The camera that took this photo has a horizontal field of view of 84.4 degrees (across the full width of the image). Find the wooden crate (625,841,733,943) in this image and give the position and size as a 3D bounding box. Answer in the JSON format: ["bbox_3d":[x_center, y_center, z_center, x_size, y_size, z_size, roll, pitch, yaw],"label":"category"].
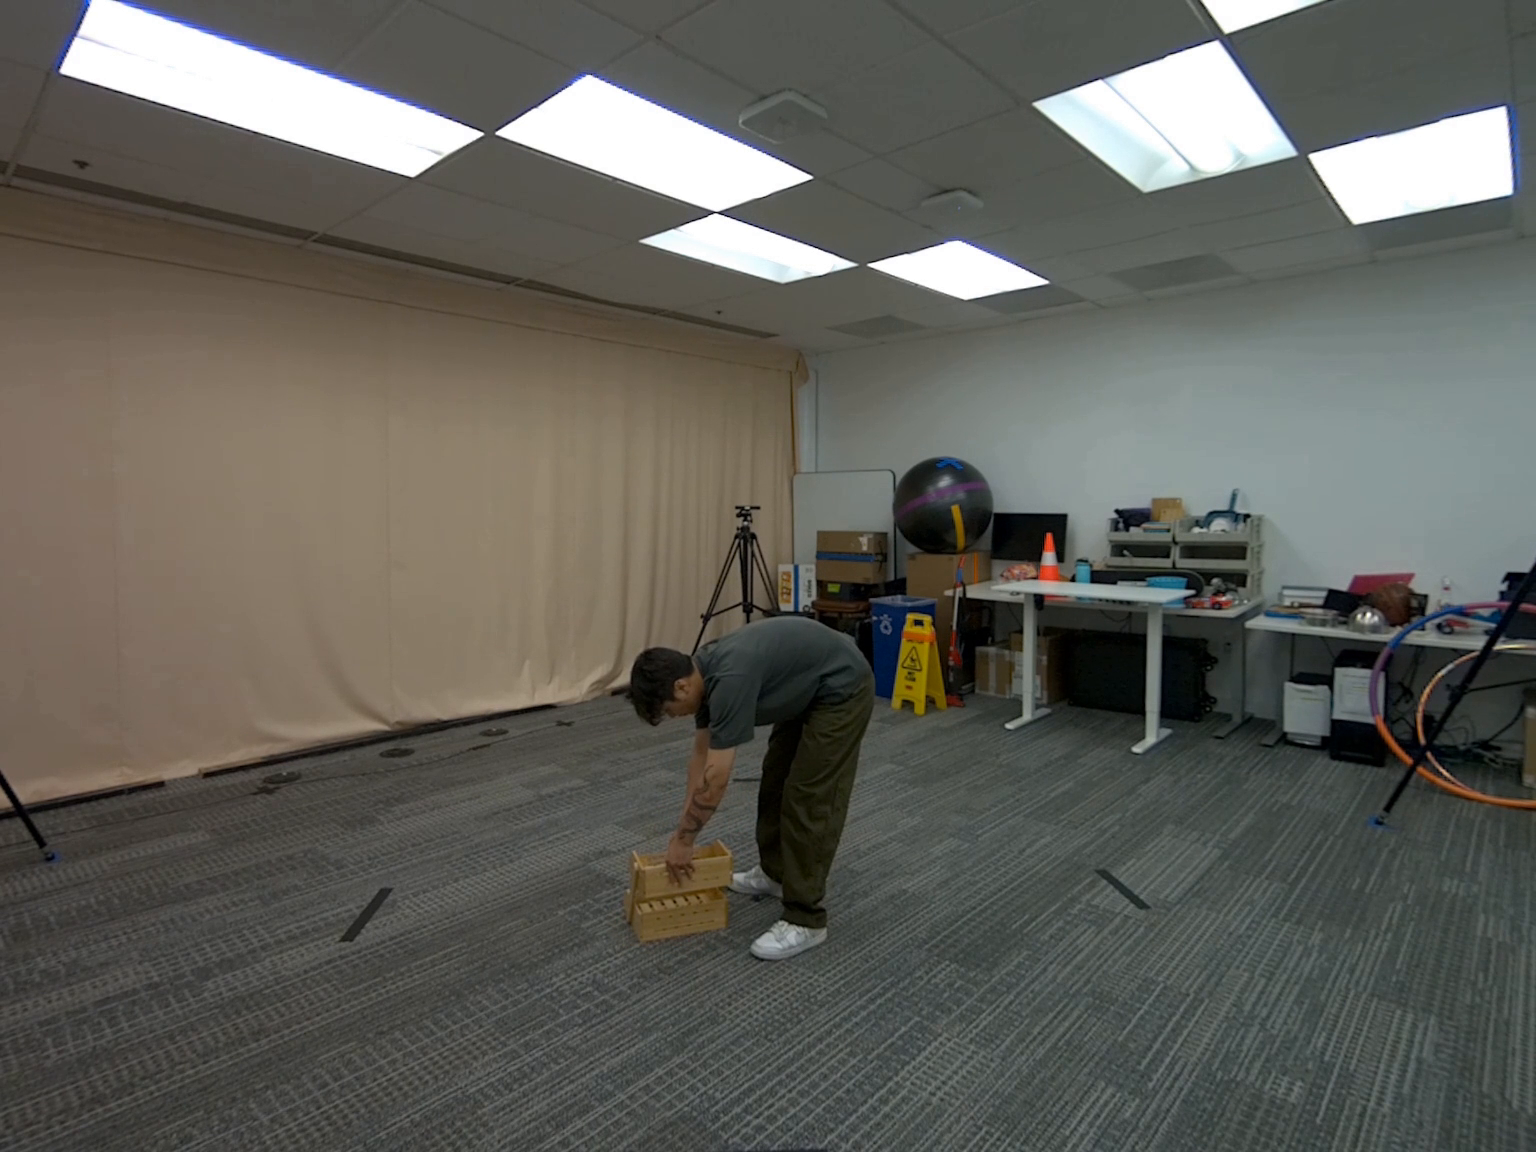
[{"bbox_3d":[-0.315,1.029,2.826,0.318,0.273,0.308,-3,4,-19],"label":"wooden crate"}]
